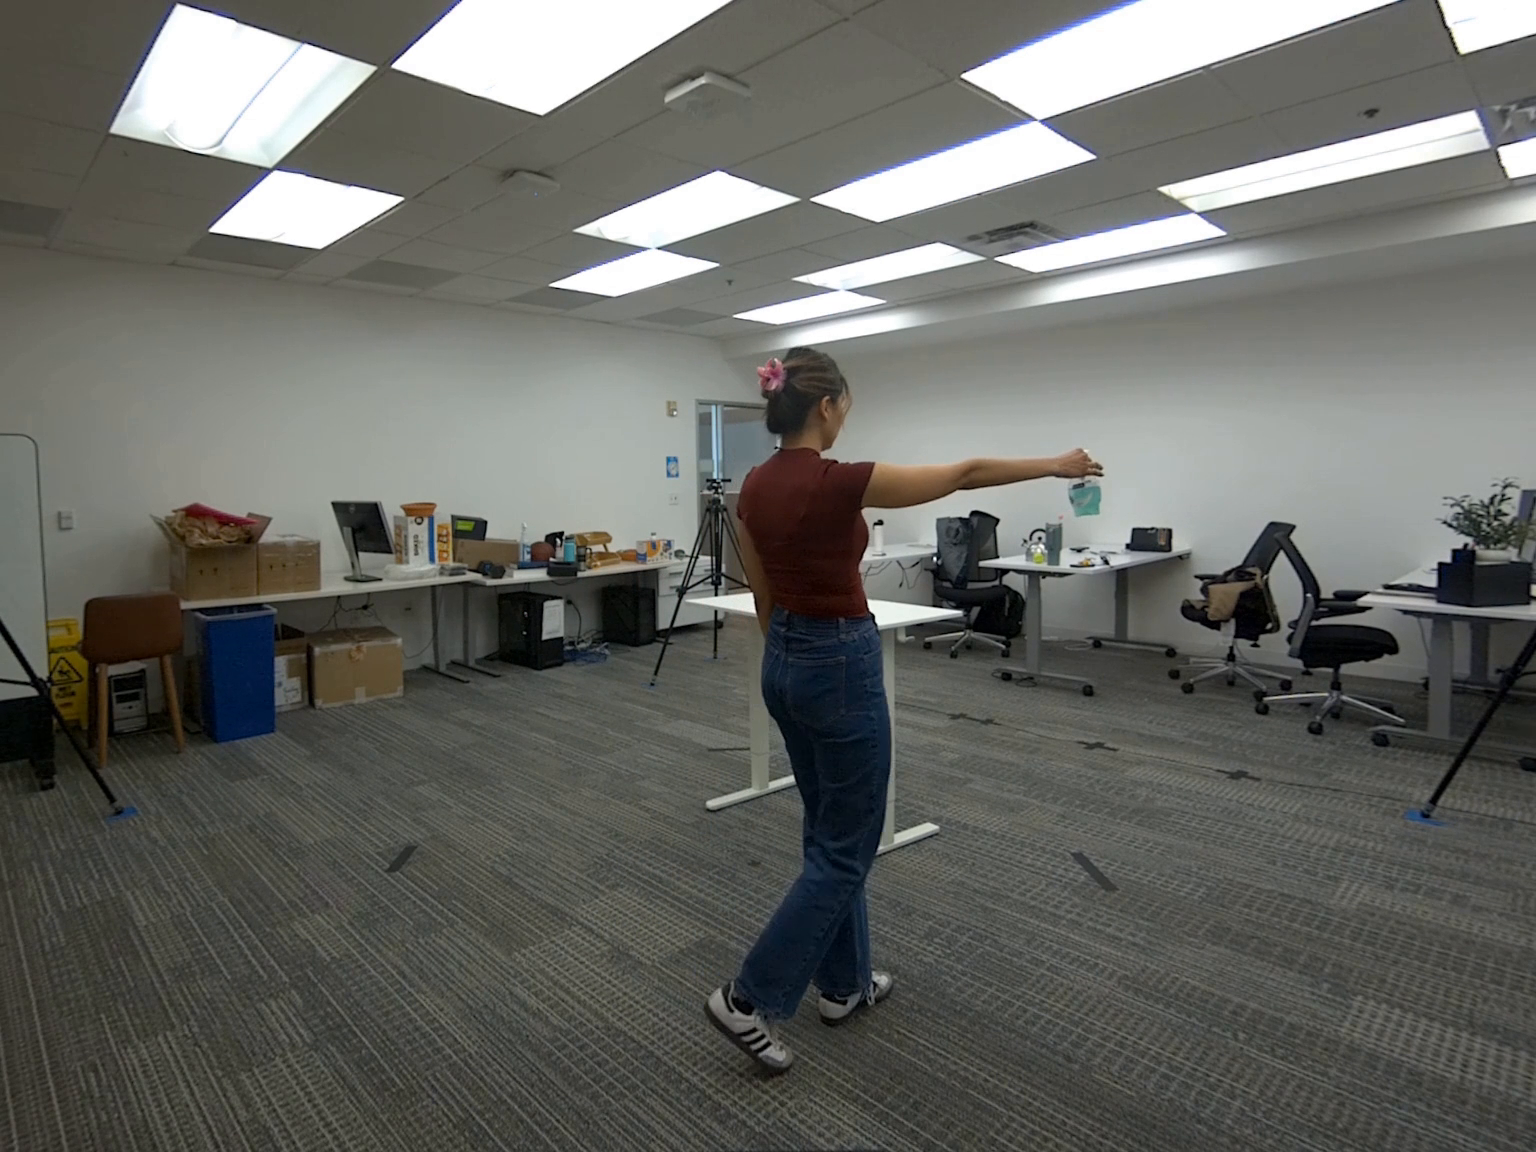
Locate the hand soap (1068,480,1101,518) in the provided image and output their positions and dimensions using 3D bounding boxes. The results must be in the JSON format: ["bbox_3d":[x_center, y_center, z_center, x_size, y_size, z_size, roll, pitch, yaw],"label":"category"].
[{"bbox_3d":[0.811,-0.236,2.187,0.042,0.168,0.086,-4,-1,-31],"label":"hand soap"}]
